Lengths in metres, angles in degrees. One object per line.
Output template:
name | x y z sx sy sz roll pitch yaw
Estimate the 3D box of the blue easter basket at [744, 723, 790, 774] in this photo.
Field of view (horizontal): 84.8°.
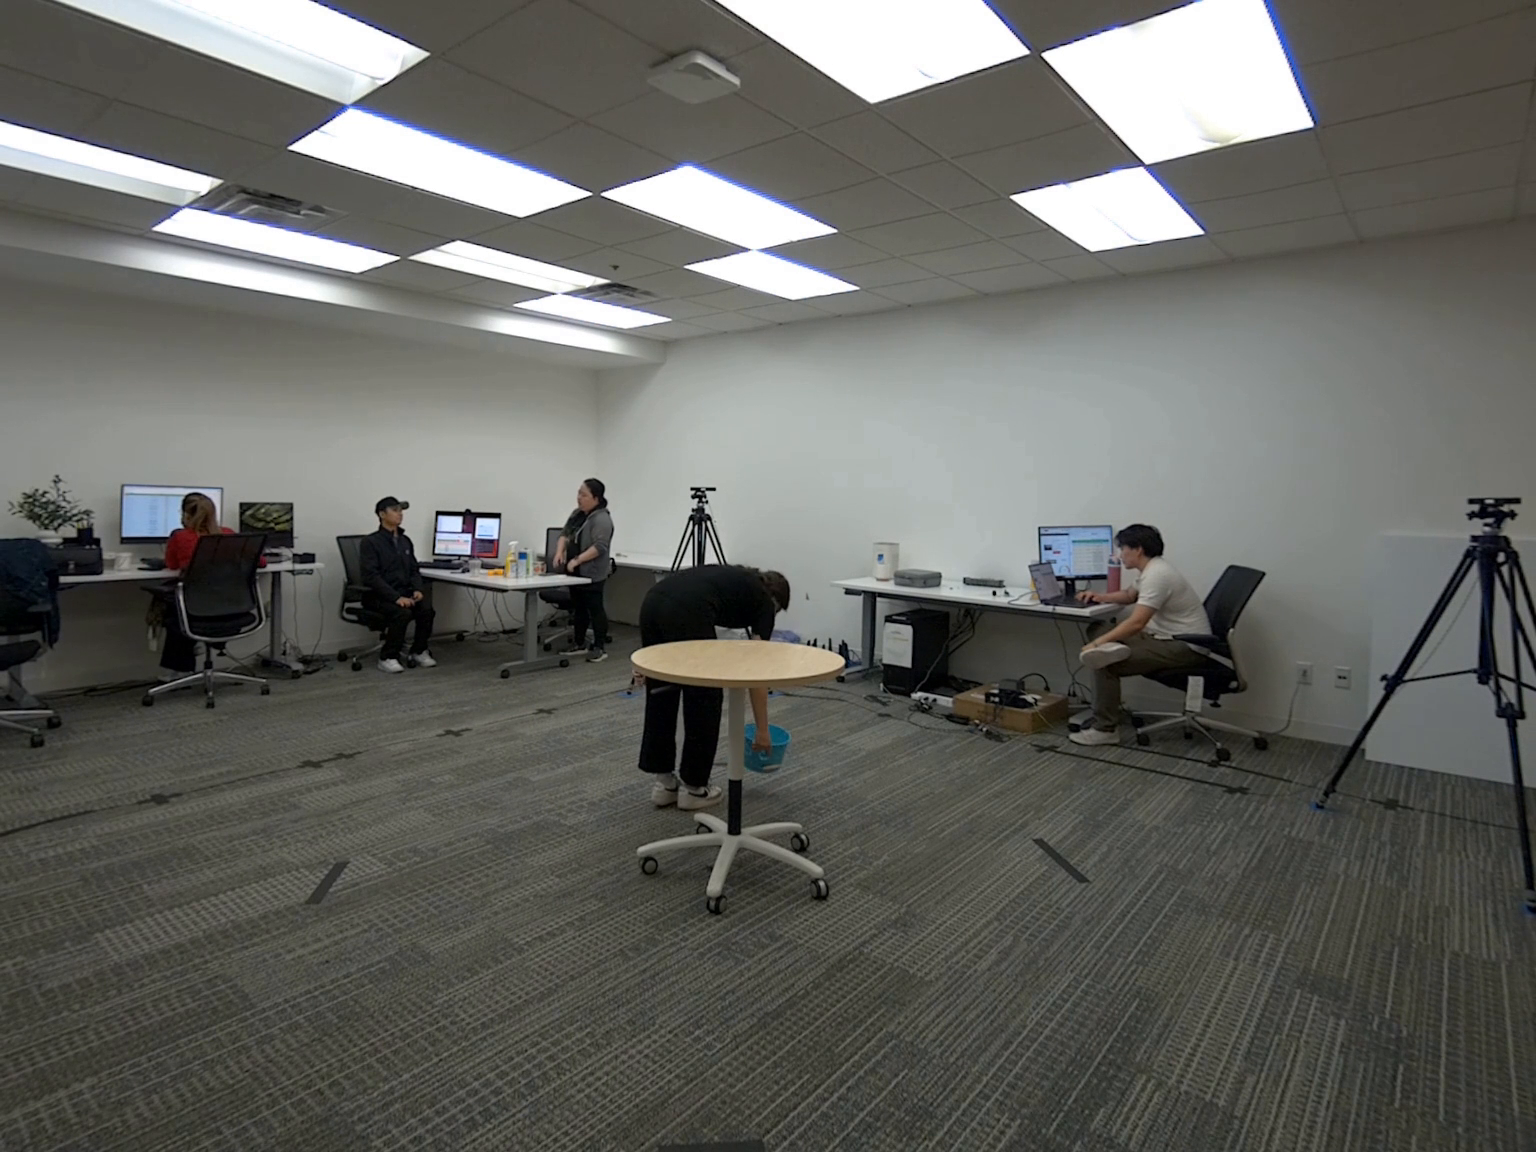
blue easter basket | -0.036 0.781 3.872 0.243 0.154 0.246 7 11 -3
